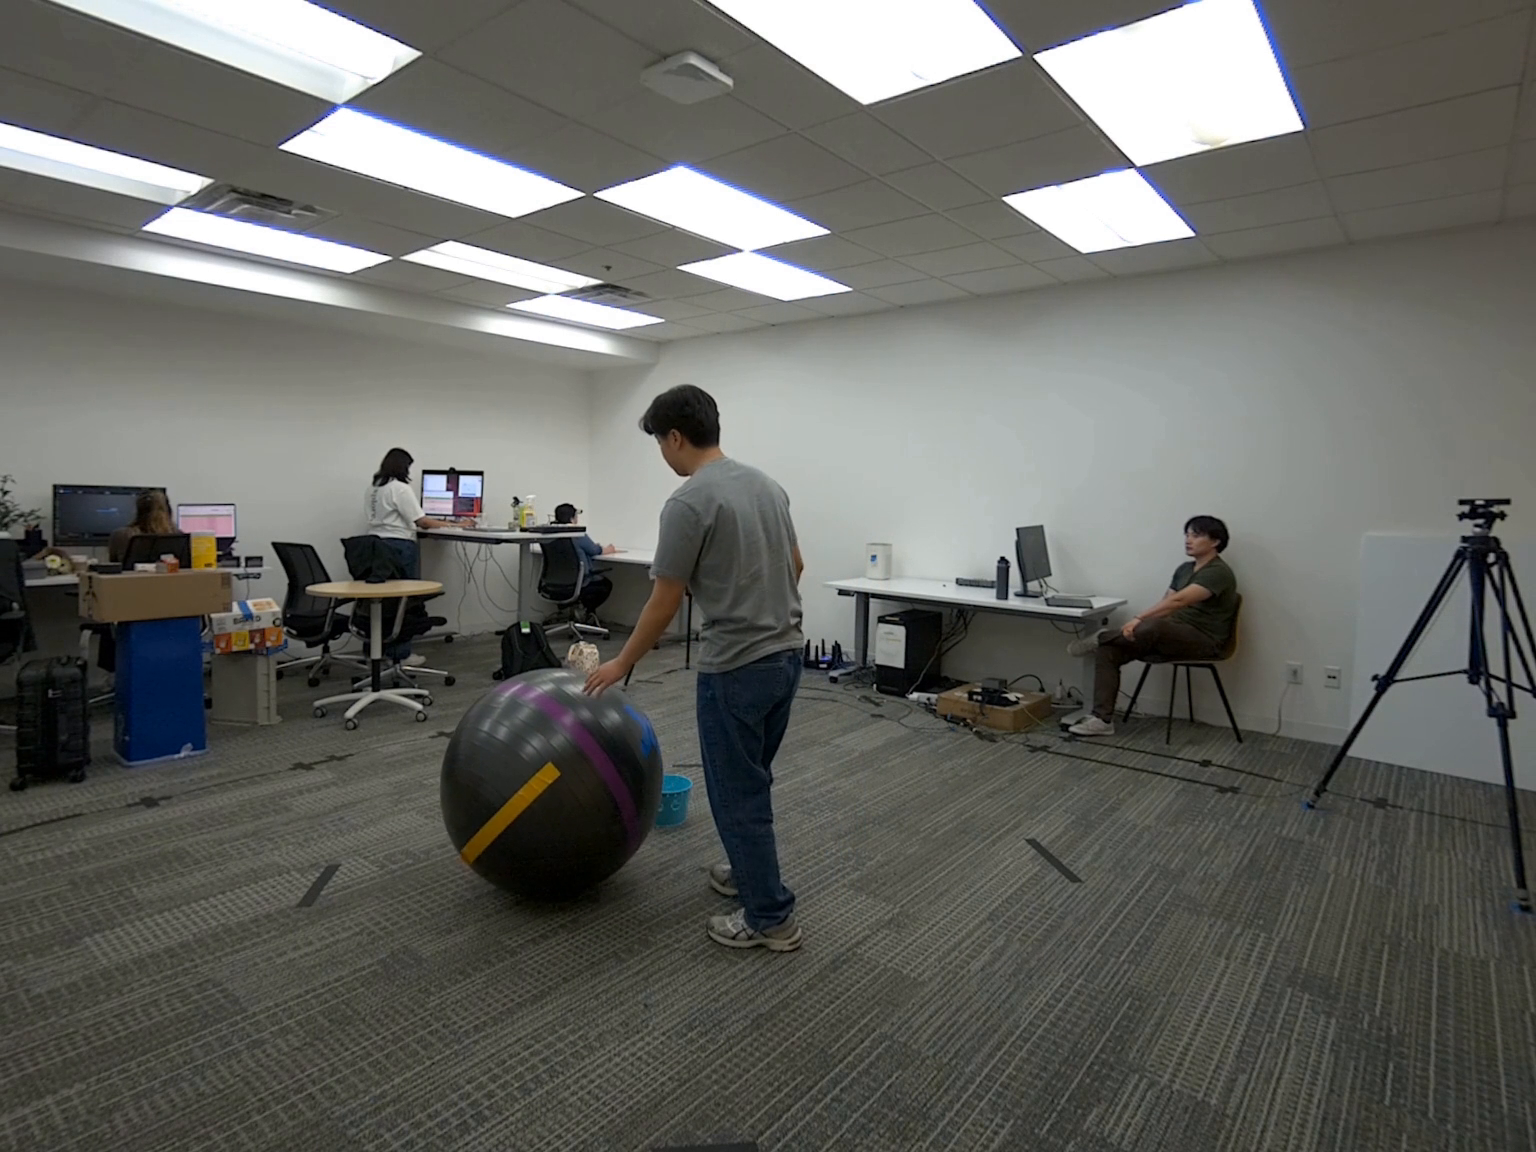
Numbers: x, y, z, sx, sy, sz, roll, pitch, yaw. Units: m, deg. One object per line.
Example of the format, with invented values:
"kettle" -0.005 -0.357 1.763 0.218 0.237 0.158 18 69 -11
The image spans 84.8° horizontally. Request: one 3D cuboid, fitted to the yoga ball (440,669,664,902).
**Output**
"yoga ball" -0.757 0.706 2.943 0.757 0.755 0.762 1 4 -2
